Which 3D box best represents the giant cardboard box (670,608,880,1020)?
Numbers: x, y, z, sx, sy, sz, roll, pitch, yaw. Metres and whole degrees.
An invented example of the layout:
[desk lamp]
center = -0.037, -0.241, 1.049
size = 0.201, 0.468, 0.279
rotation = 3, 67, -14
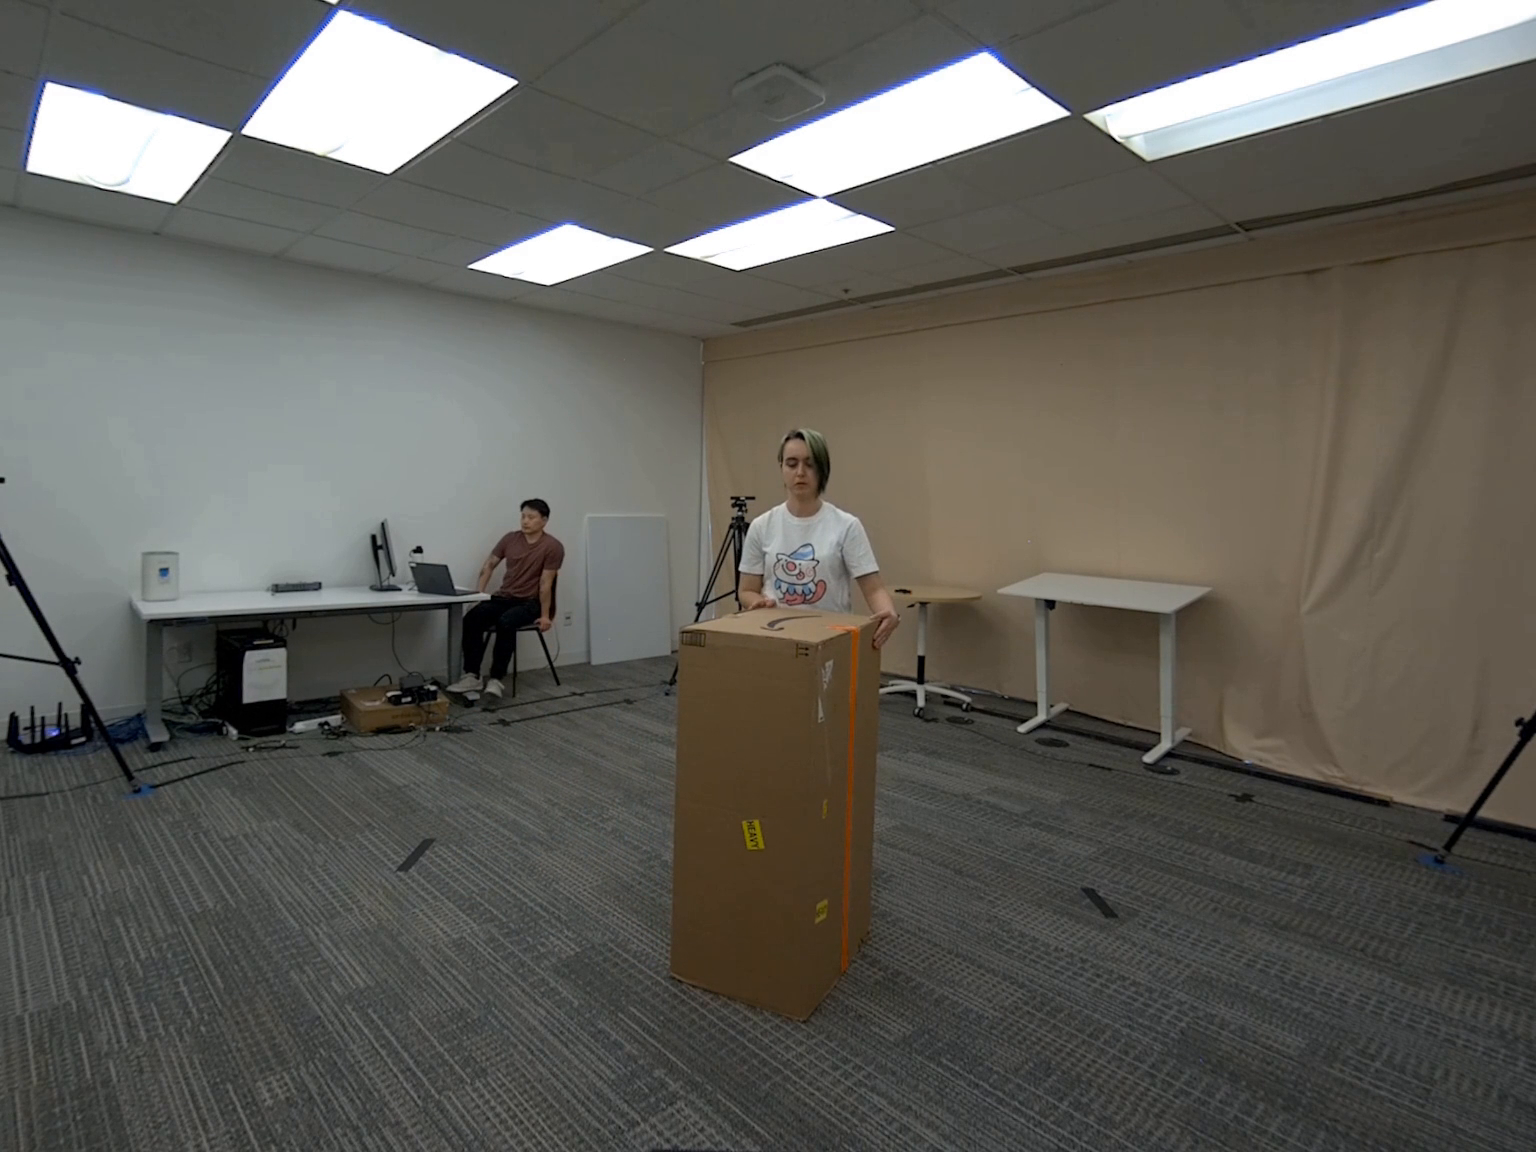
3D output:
[giant cardboard box]
center = 0.034, 0.654, 2.557
size = 0.435, 1.024, 0.567
rotation = 3, 3, 27
